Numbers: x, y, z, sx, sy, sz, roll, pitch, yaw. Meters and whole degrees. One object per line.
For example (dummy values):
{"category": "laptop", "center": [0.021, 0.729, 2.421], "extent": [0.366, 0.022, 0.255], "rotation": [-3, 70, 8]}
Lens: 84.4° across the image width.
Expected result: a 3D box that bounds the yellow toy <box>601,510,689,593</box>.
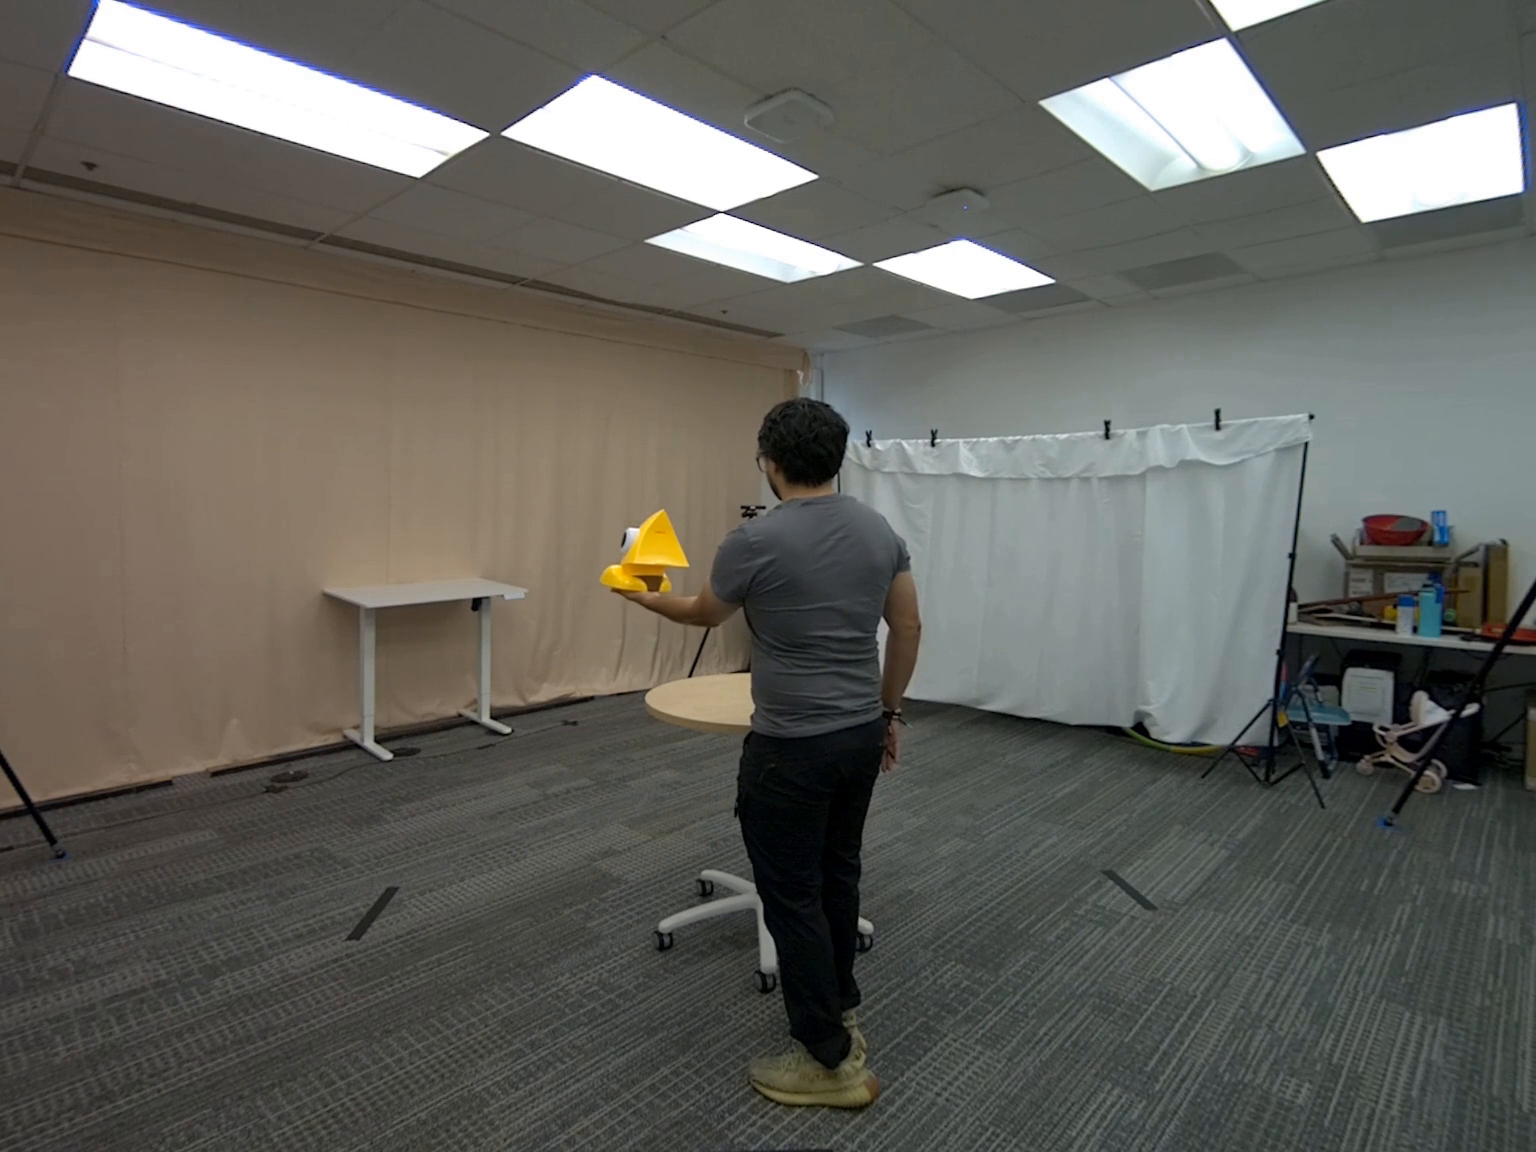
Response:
{"category": "yellow toy", "center": [-0.353, -0.077, 2.385], "extent": [0.200, 0.230, 0.198], "rotation": [12, 5, 43]}
